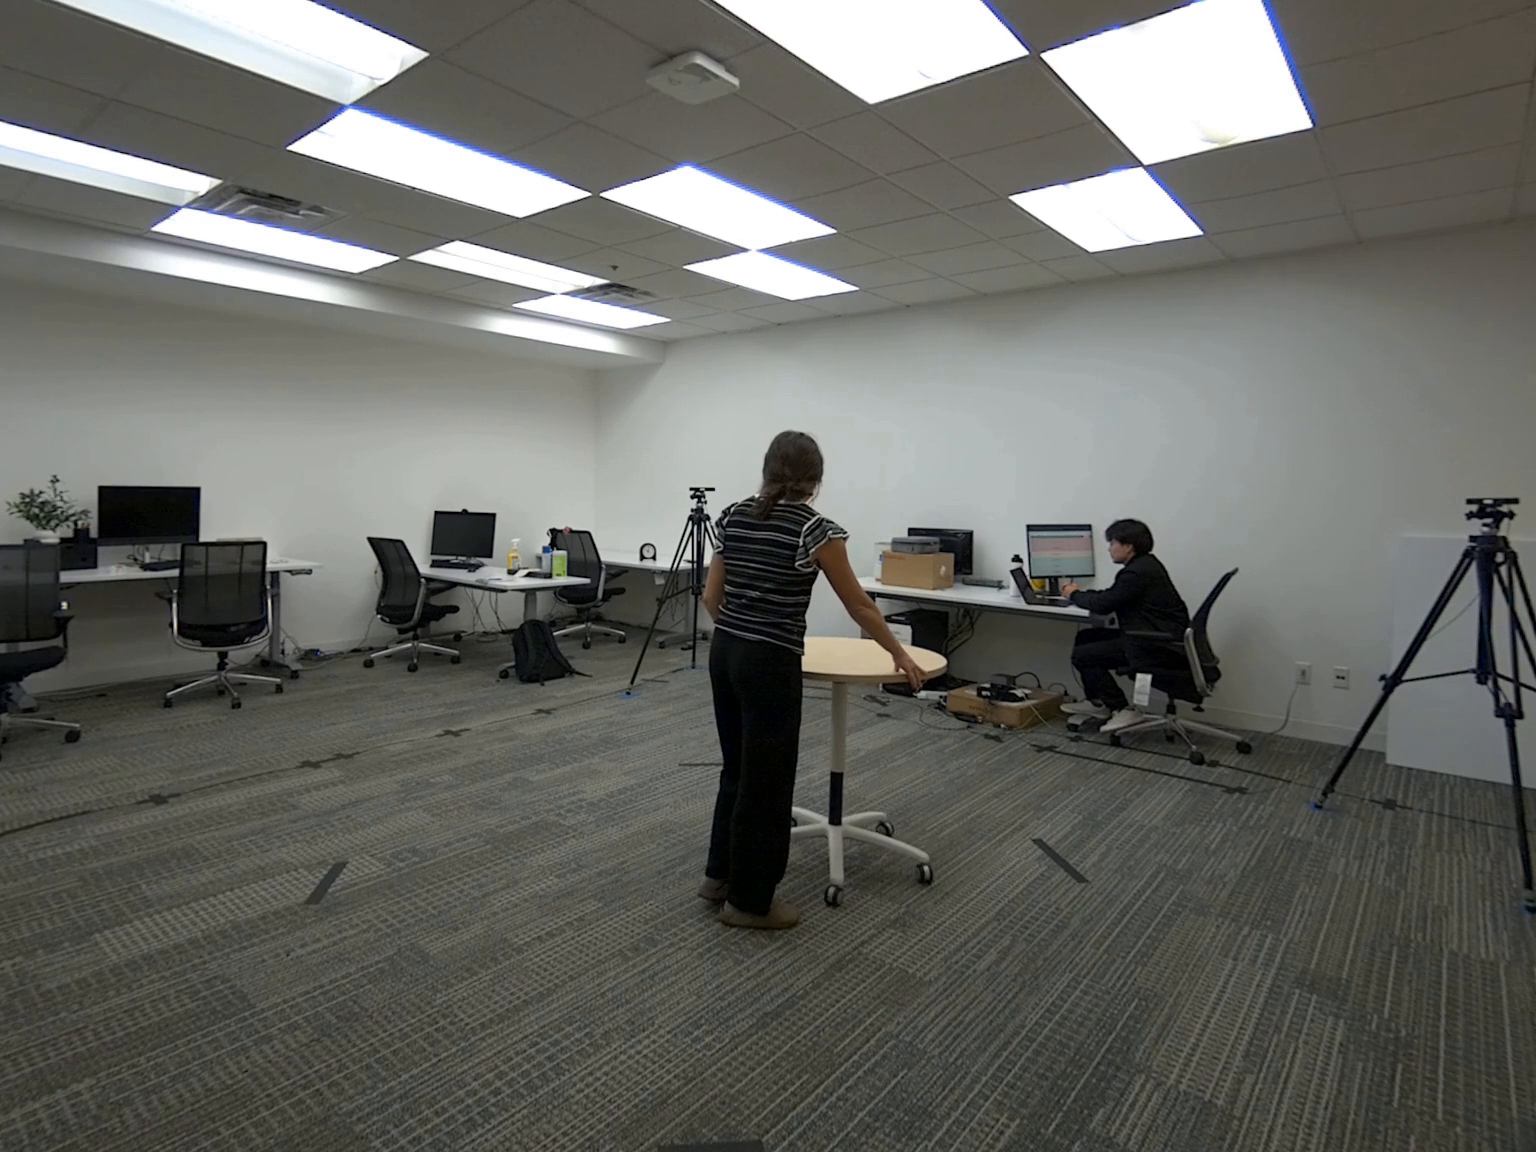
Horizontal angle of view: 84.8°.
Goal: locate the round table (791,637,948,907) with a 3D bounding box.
[{"bbox_3d":[0.251,0.674,3.201,0.784,0.784,0.789,2,4,-2],"label":"round table"}]
